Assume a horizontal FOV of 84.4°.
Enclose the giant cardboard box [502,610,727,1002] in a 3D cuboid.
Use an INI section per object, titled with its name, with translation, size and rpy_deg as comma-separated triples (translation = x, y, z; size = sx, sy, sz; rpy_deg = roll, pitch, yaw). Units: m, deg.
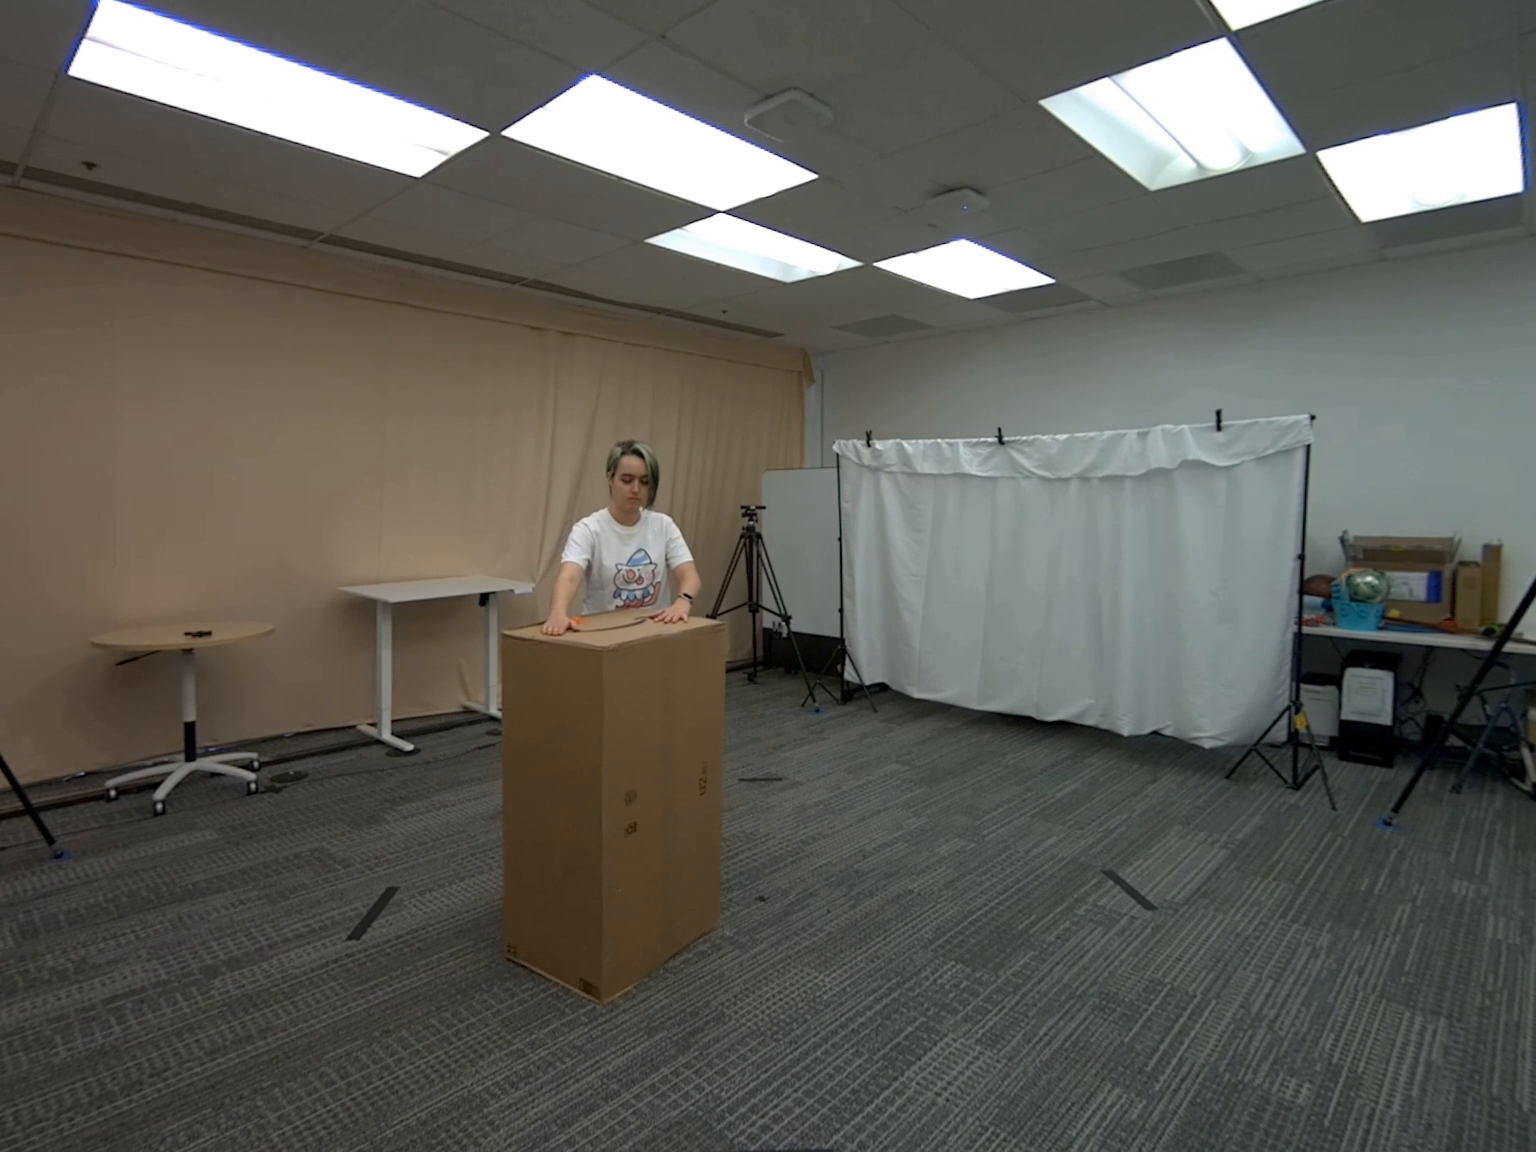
[giant cardboard box]
translation = -0.477, 0.666, 2.663
size = 0.461, 1.024, 0.568
rpy_deg = 5, 6, 34
